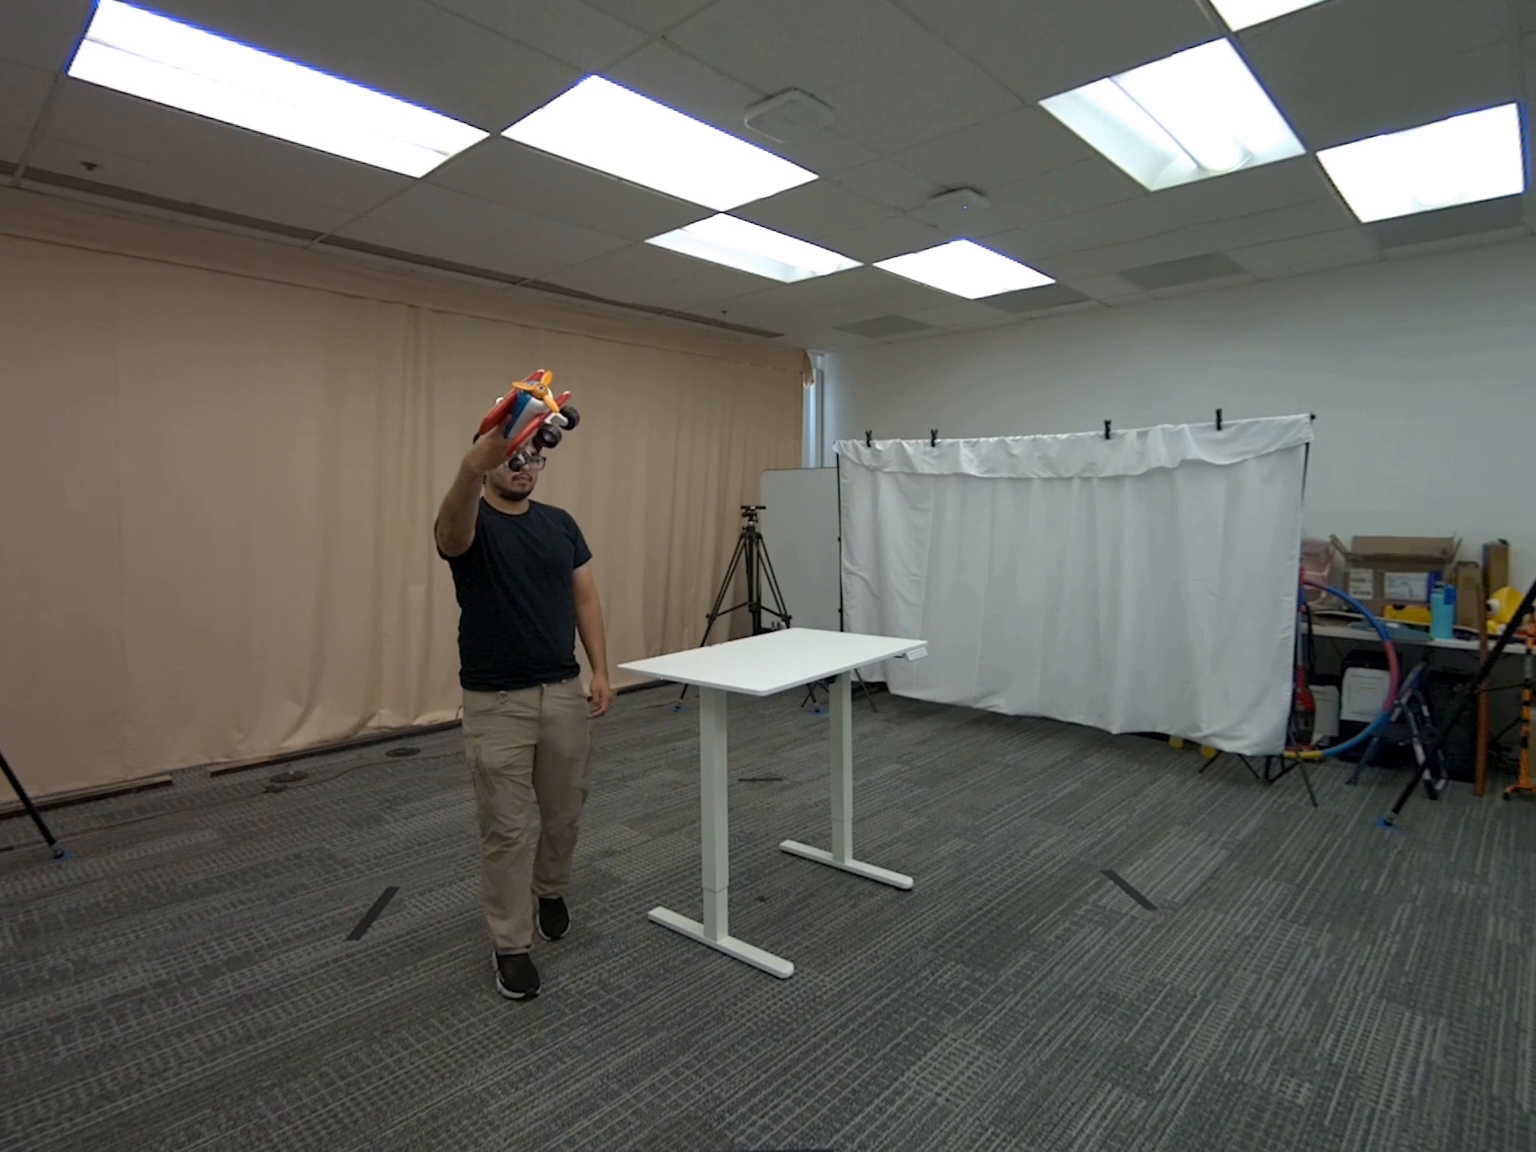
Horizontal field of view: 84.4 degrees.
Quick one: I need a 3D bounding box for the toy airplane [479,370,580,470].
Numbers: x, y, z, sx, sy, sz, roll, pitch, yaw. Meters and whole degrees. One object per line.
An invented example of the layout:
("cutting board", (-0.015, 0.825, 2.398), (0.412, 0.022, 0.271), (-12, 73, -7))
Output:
("toy airplane", (-0.577, -0.342, 1.963), (0.261, 0.153, 0.255), (-35, 20, 11))
